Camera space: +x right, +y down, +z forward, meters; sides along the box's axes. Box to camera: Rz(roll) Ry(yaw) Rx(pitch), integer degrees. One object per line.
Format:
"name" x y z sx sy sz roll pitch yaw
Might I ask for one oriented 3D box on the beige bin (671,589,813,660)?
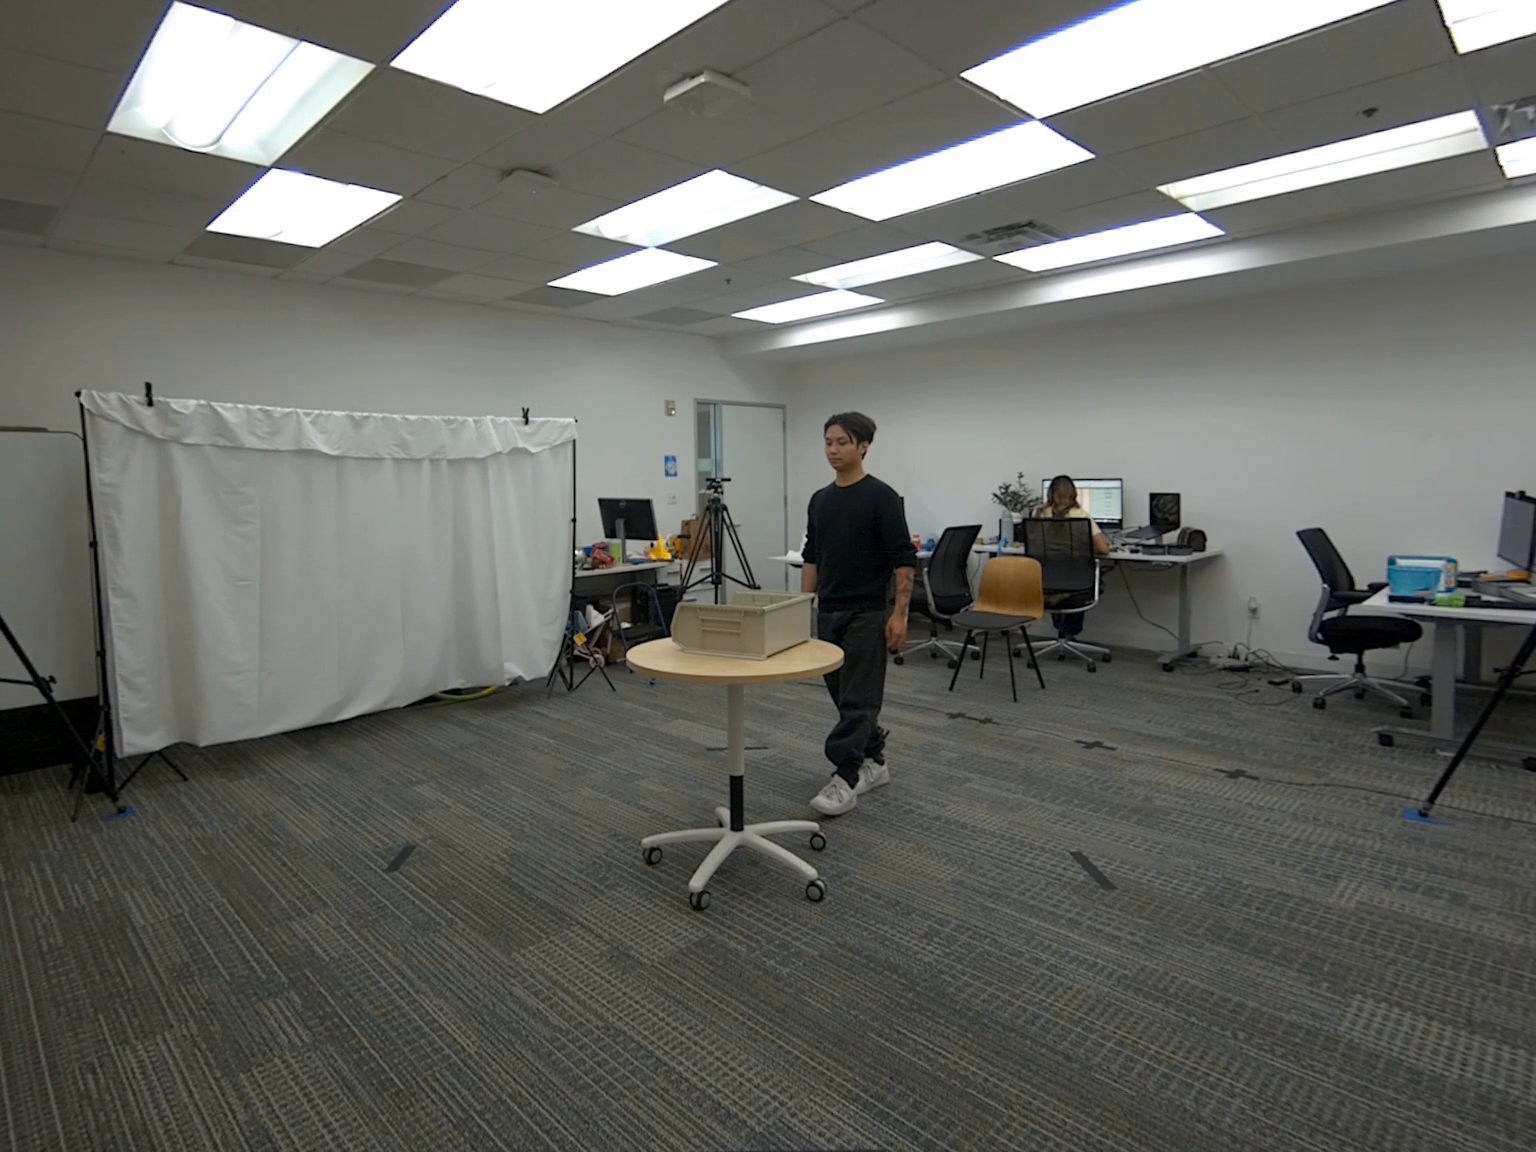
"beige bin" -0.078 0.167 3.119 0.387 0.188 0.413 4 7 28
